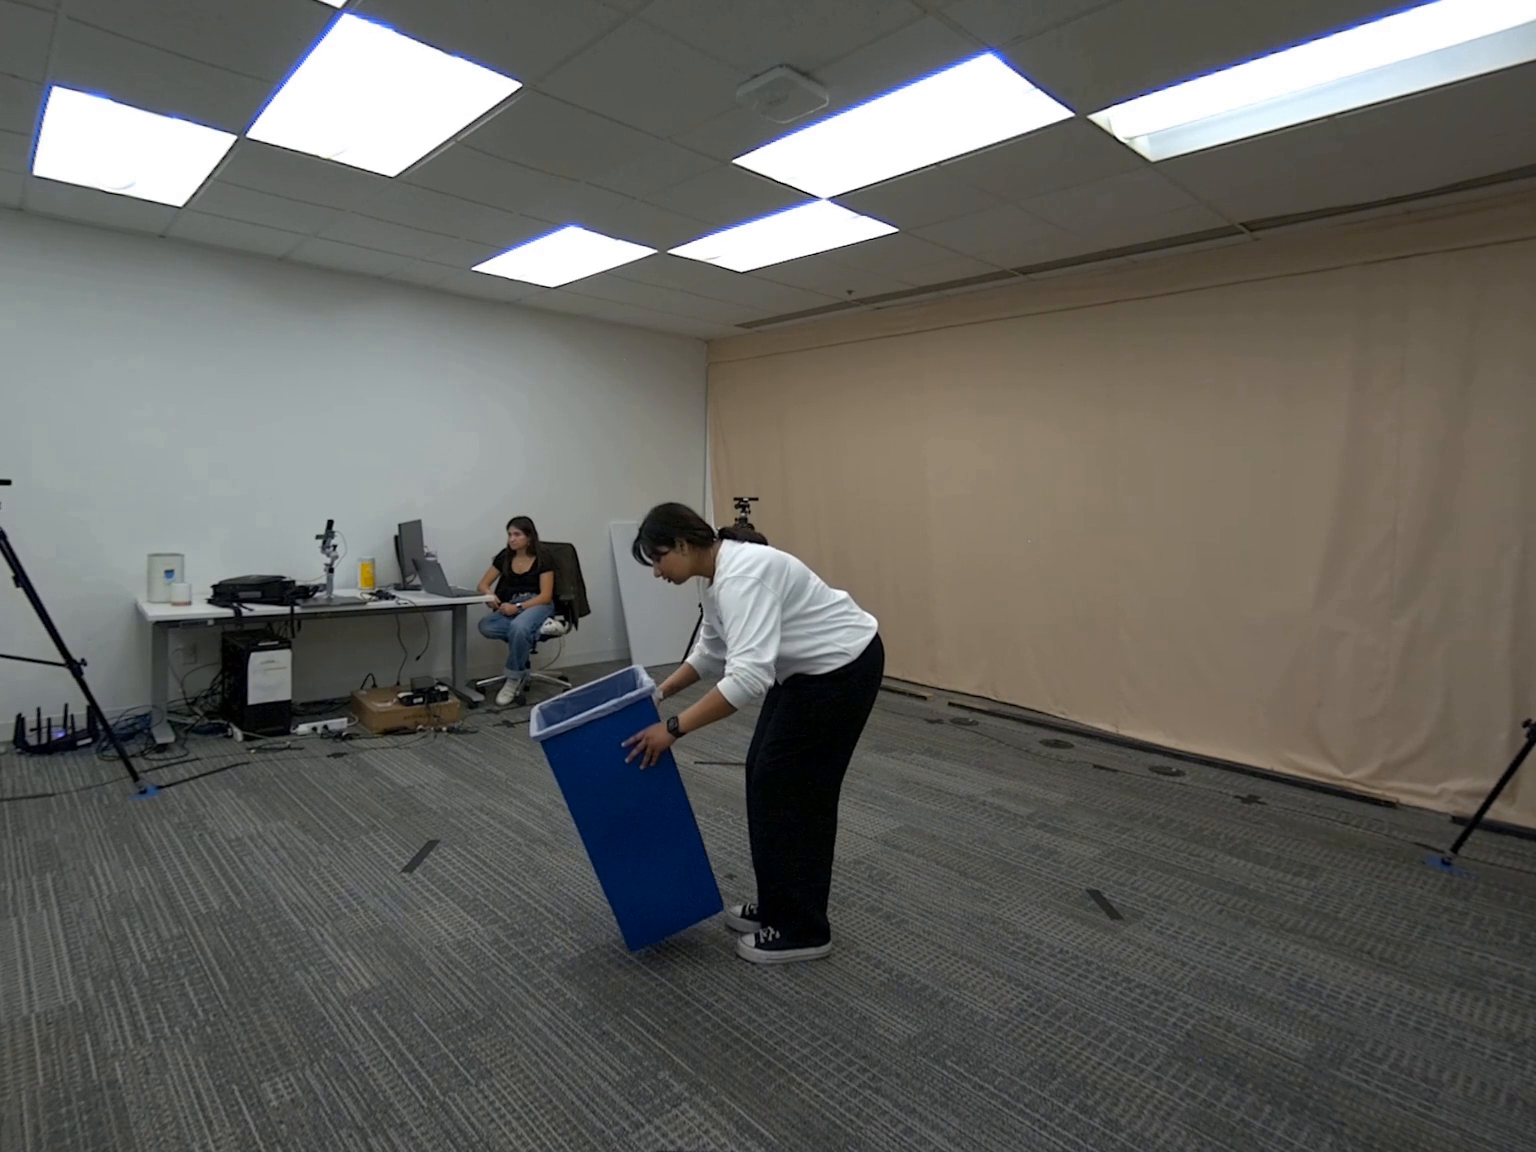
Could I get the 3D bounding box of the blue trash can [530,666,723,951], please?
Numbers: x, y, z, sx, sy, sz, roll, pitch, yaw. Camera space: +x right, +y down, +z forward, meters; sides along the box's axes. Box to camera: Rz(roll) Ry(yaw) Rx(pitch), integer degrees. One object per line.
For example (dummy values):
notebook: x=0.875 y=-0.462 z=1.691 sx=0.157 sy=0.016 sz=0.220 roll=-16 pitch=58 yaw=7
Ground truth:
blue trash can: x=-0.425 y=0.691 z=2.552 sx=0.372 sy=0.709 sz=0.383 roll=-20 pitch=7 yaw=-12
